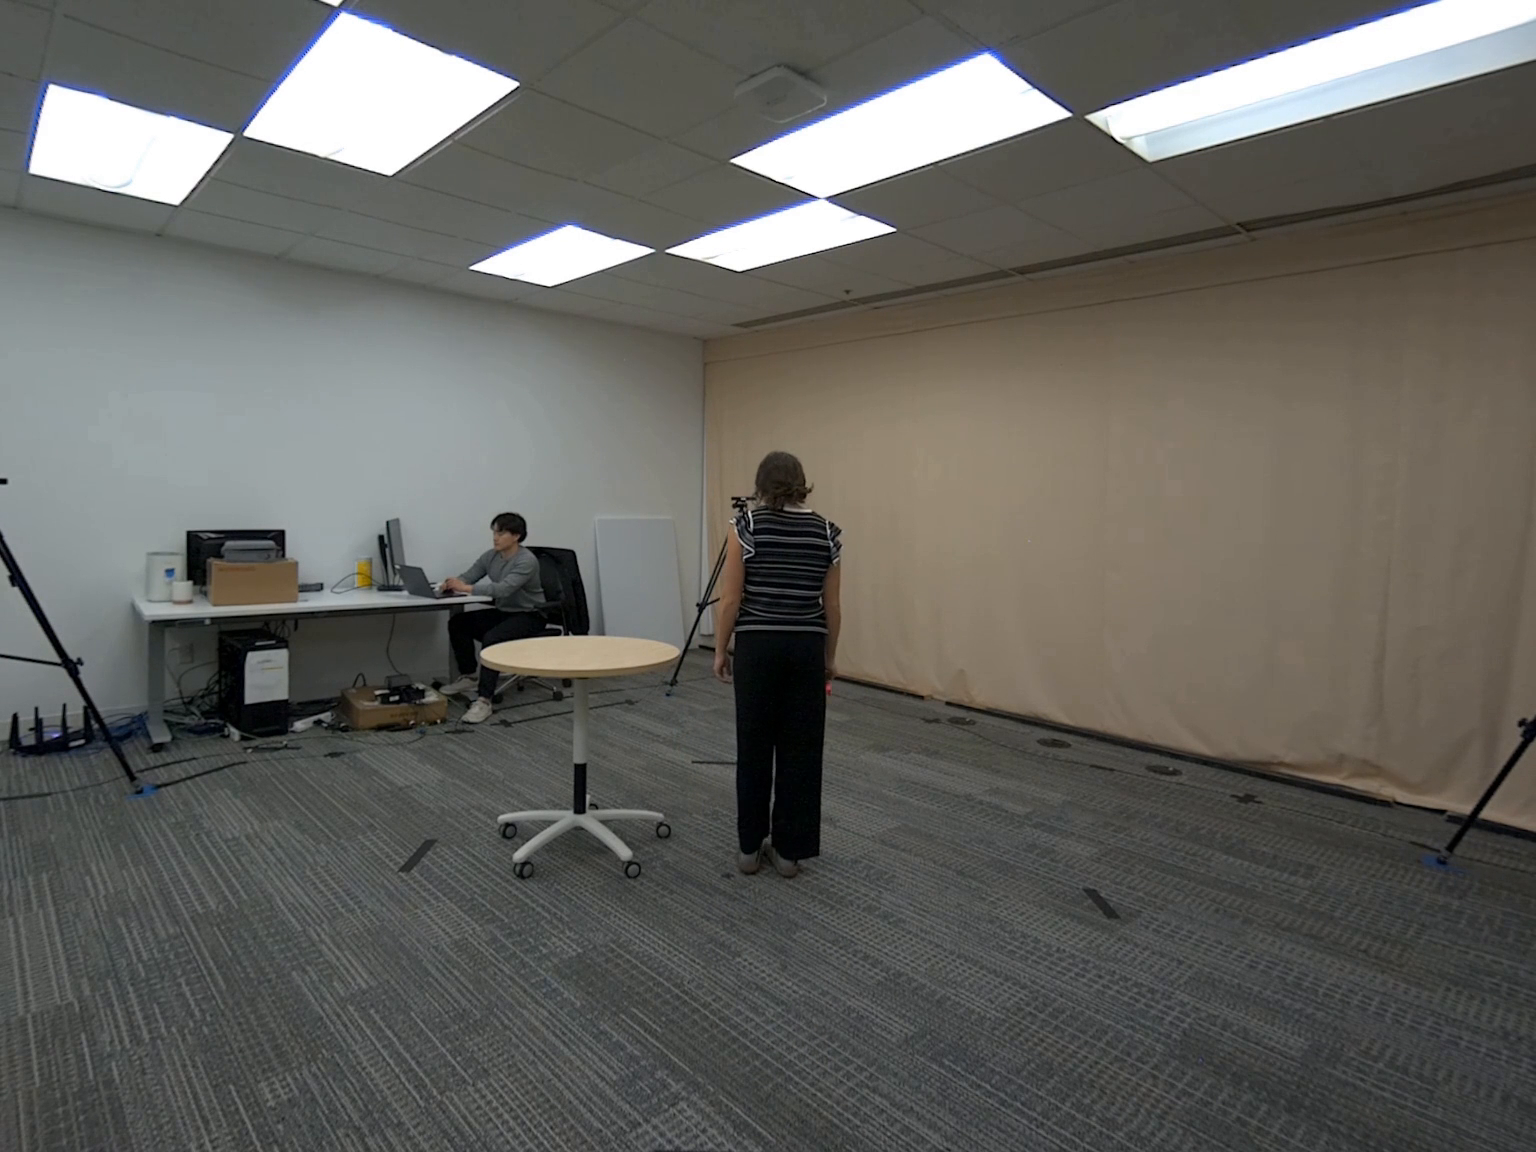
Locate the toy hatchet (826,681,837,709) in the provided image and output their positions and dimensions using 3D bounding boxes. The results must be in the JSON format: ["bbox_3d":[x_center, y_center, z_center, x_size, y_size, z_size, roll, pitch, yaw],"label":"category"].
[{"bbox_3d":[0.234,0.437,3.377,0.029,0.131,0.269,-12,0,0],"label":"toy hatchet"}]
